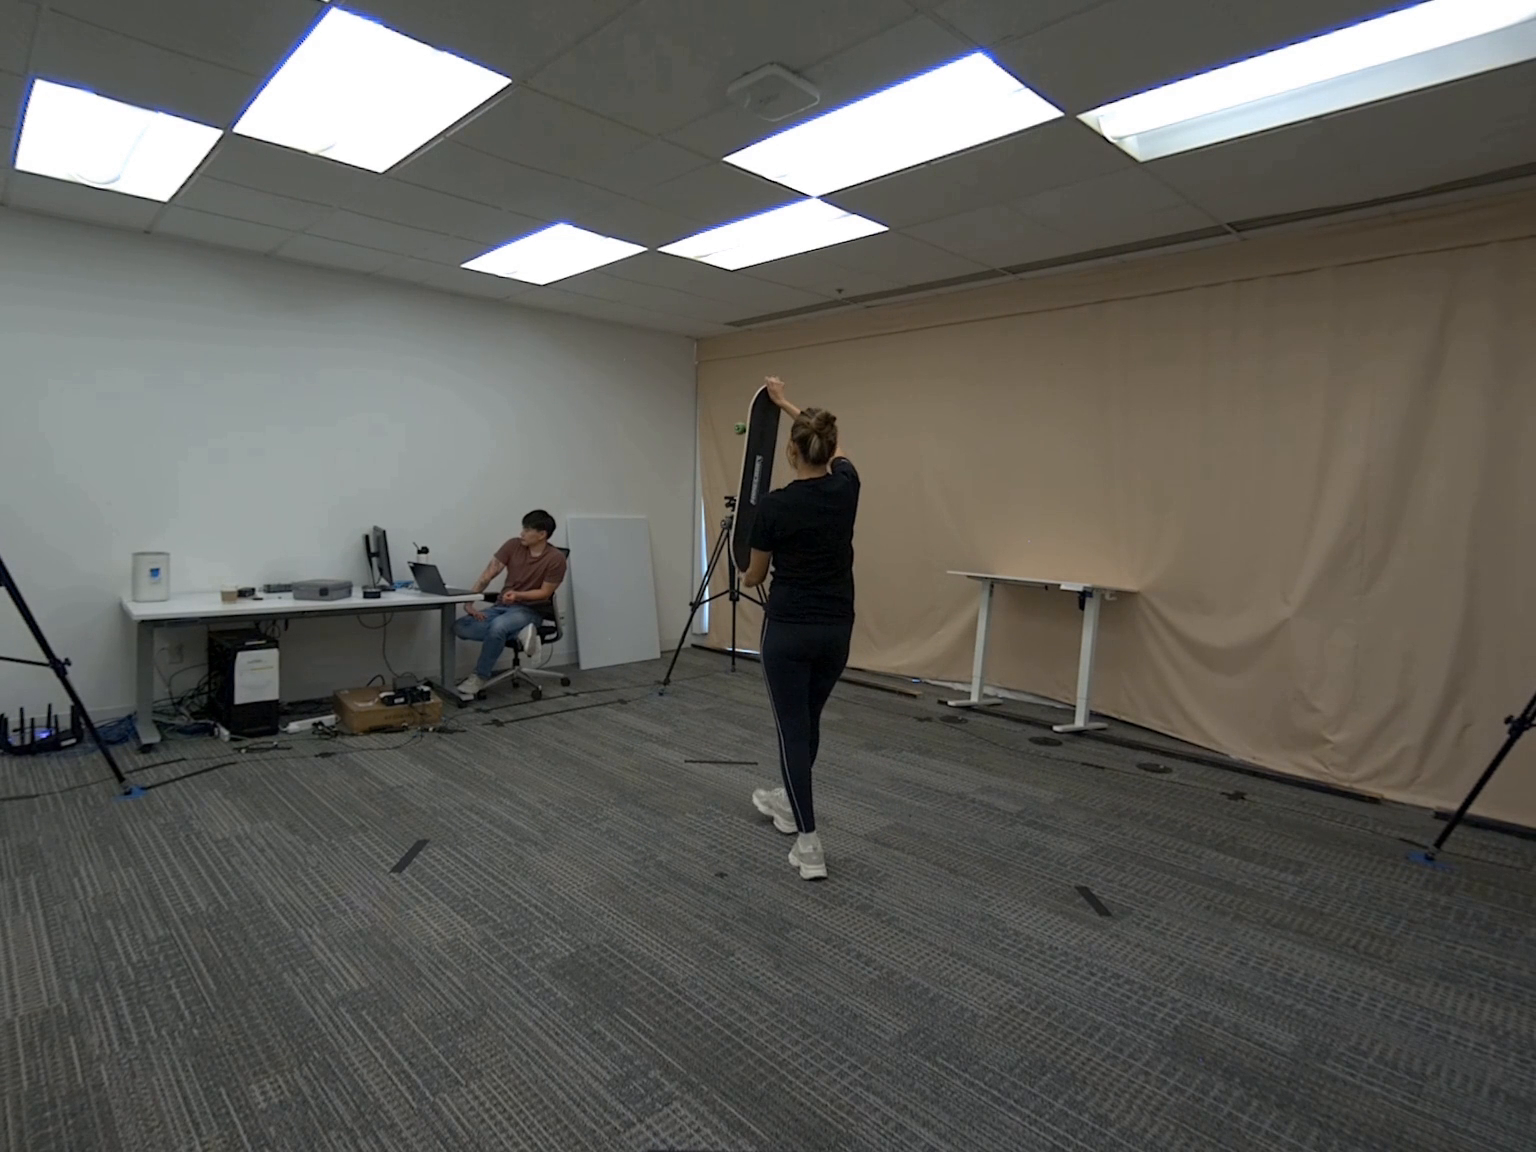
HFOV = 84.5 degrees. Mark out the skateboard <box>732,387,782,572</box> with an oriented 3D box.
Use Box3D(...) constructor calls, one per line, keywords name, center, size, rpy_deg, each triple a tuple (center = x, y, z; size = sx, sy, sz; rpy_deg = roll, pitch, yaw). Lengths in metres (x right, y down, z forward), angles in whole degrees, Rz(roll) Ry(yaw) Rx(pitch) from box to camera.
Box3D(name="skateboard", center=(-0.081, -0.404, 3.524), size=(0.113, 0.785, 0.188), rpy_deg=(8, 1, 39))
